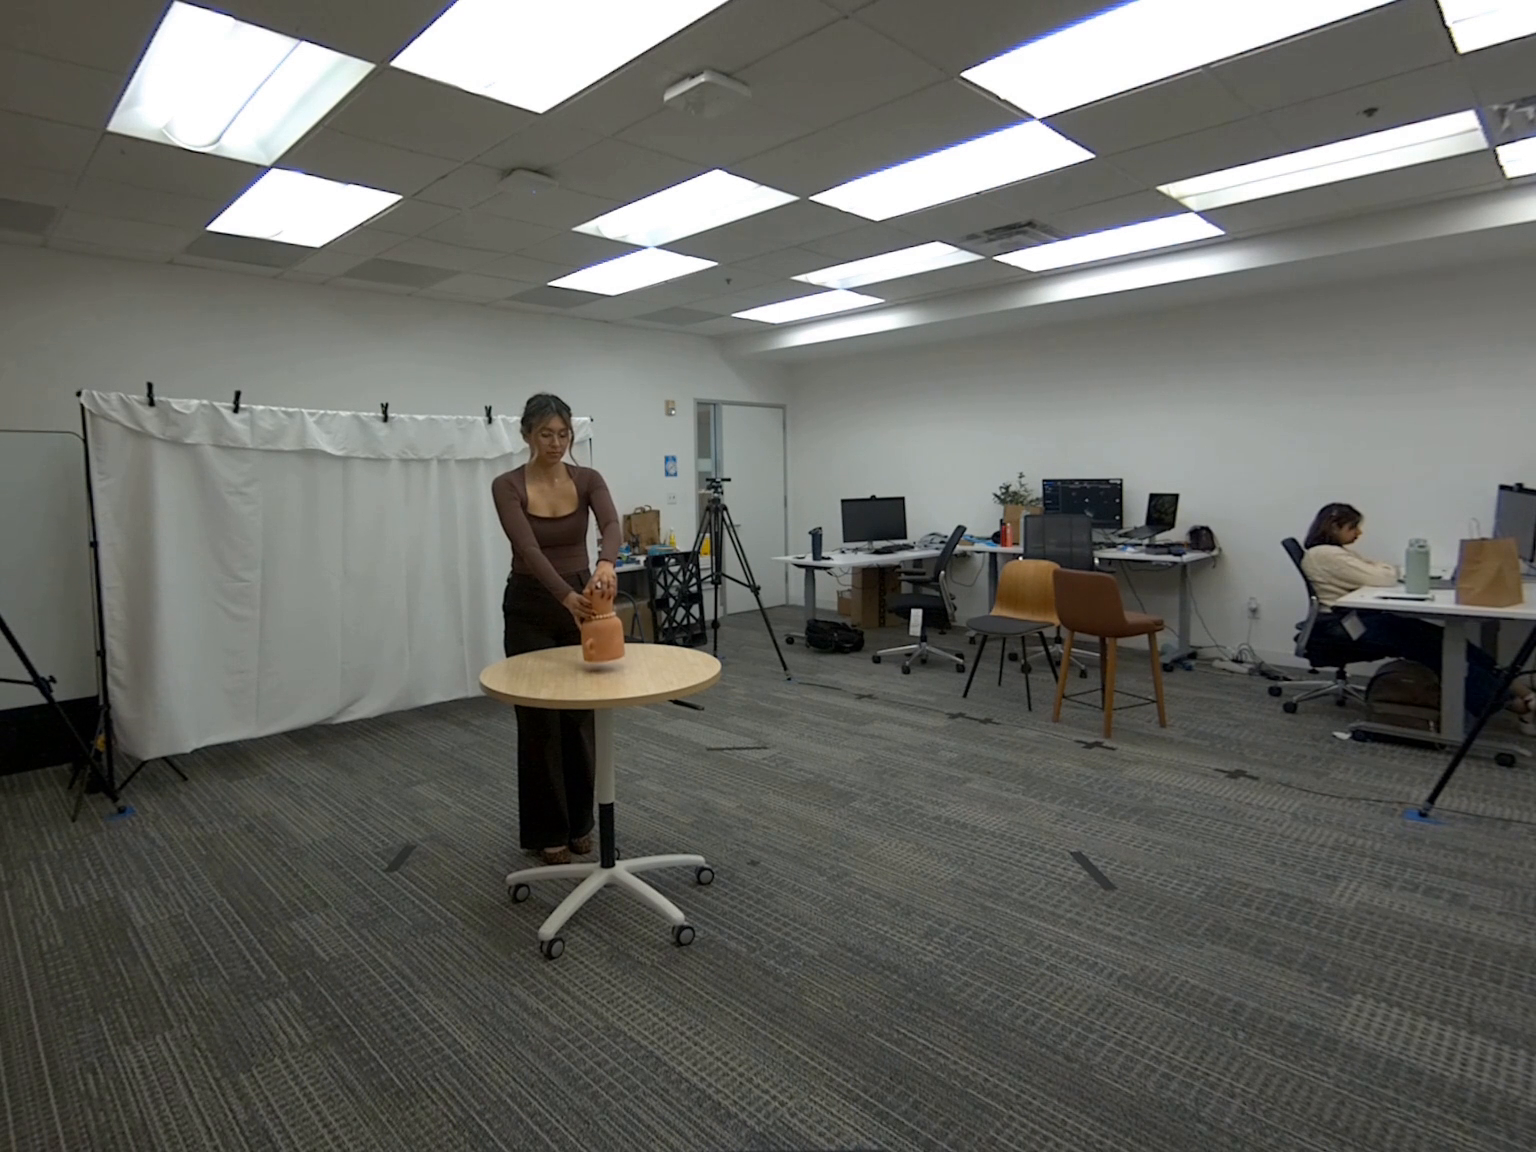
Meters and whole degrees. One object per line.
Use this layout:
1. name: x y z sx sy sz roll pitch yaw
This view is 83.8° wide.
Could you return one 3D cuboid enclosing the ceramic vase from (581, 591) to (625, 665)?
1. ceramic vase: -0.530 0.154 2.720 0.133 0.219 0.161 -6 3 -16
